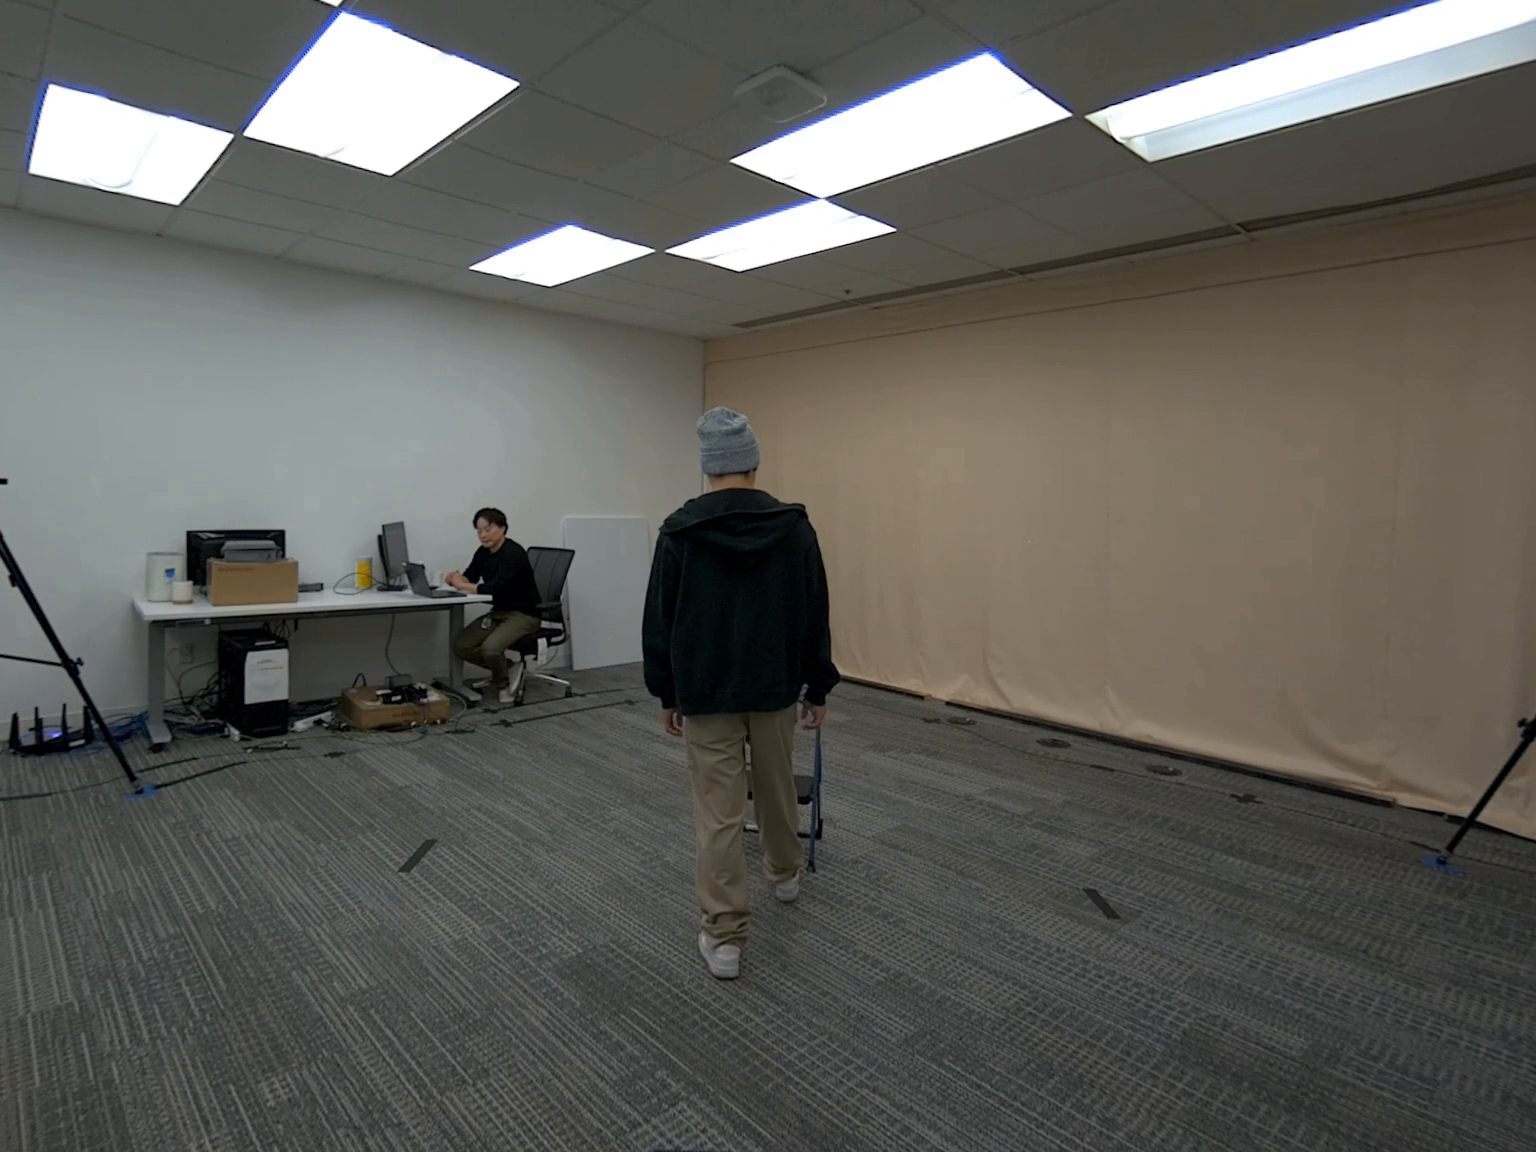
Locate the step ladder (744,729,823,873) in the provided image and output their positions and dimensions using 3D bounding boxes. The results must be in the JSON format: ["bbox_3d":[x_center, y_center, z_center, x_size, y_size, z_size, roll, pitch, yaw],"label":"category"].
[{"bbox_3d":[0.000,0.790,3.350,0.435,0.604,0.347,2,4,11],"label":"step ladder"}]
